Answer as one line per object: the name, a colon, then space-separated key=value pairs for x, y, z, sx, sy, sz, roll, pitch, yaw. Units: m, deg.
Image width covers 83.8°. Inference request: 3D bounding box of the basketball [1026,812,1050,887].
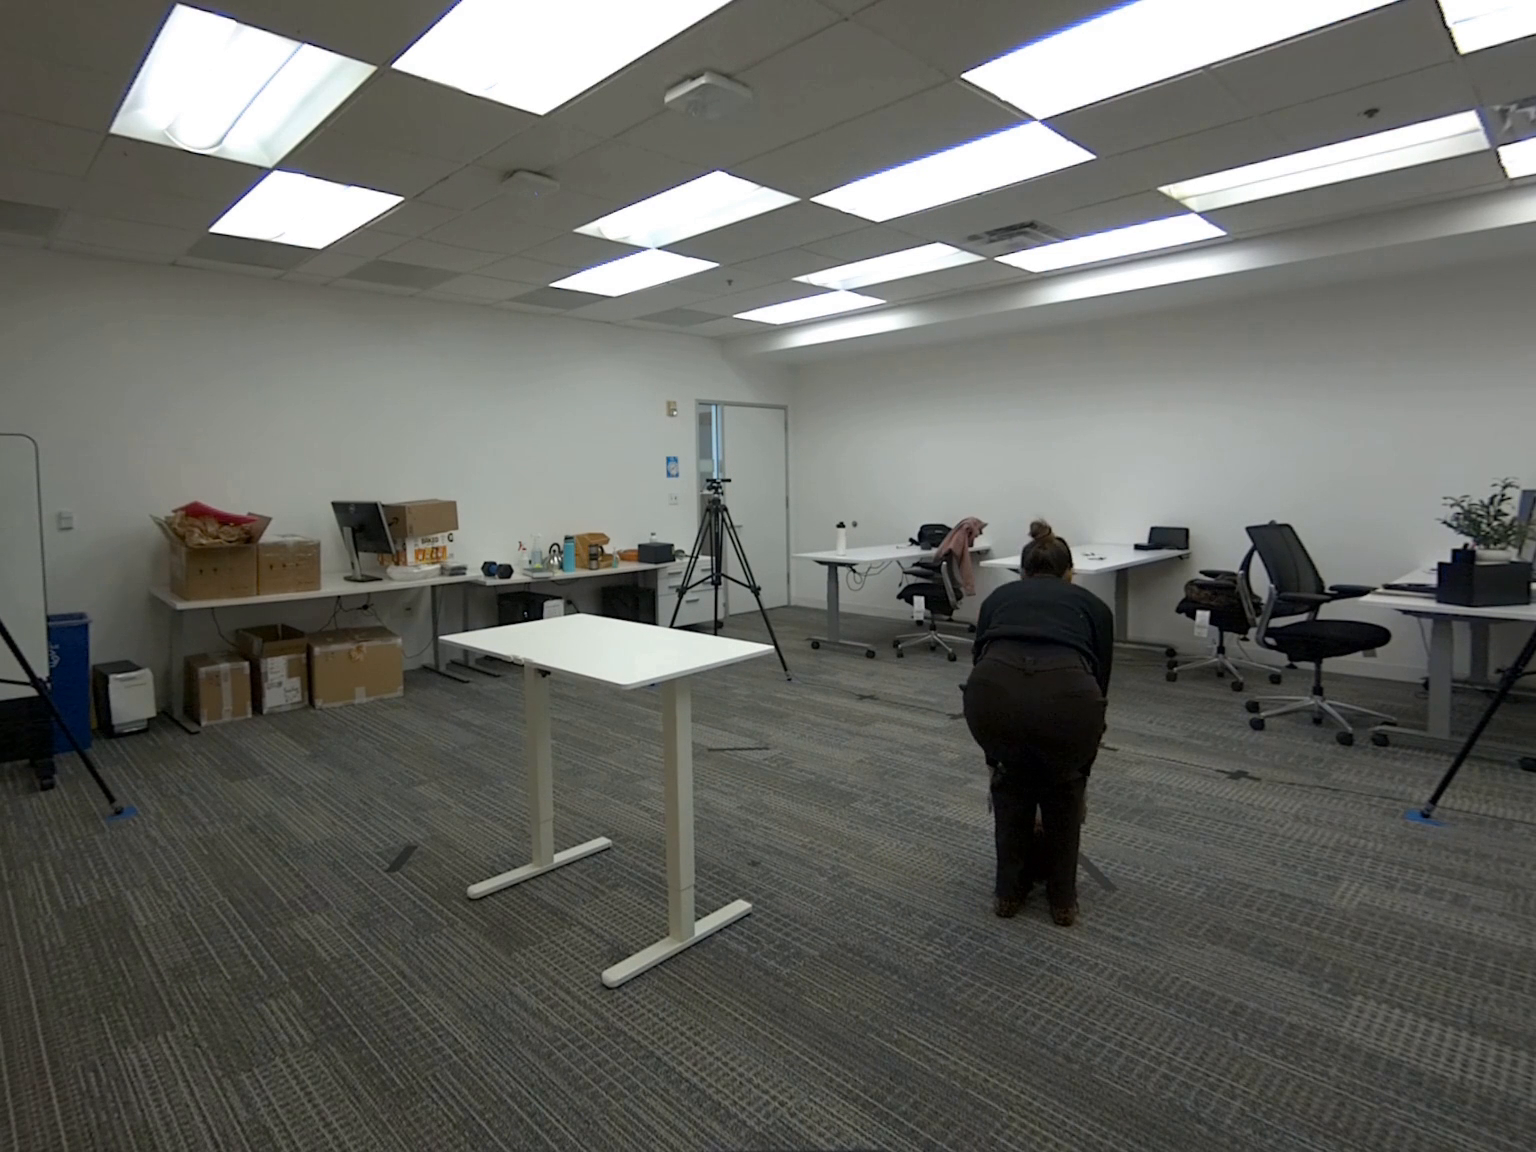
basketball: x=0.964 y=0.929 z=2.976 sx=0.236 sy=0.235 sz=0.237 roll=-1 pitch=5 yaw=-2
